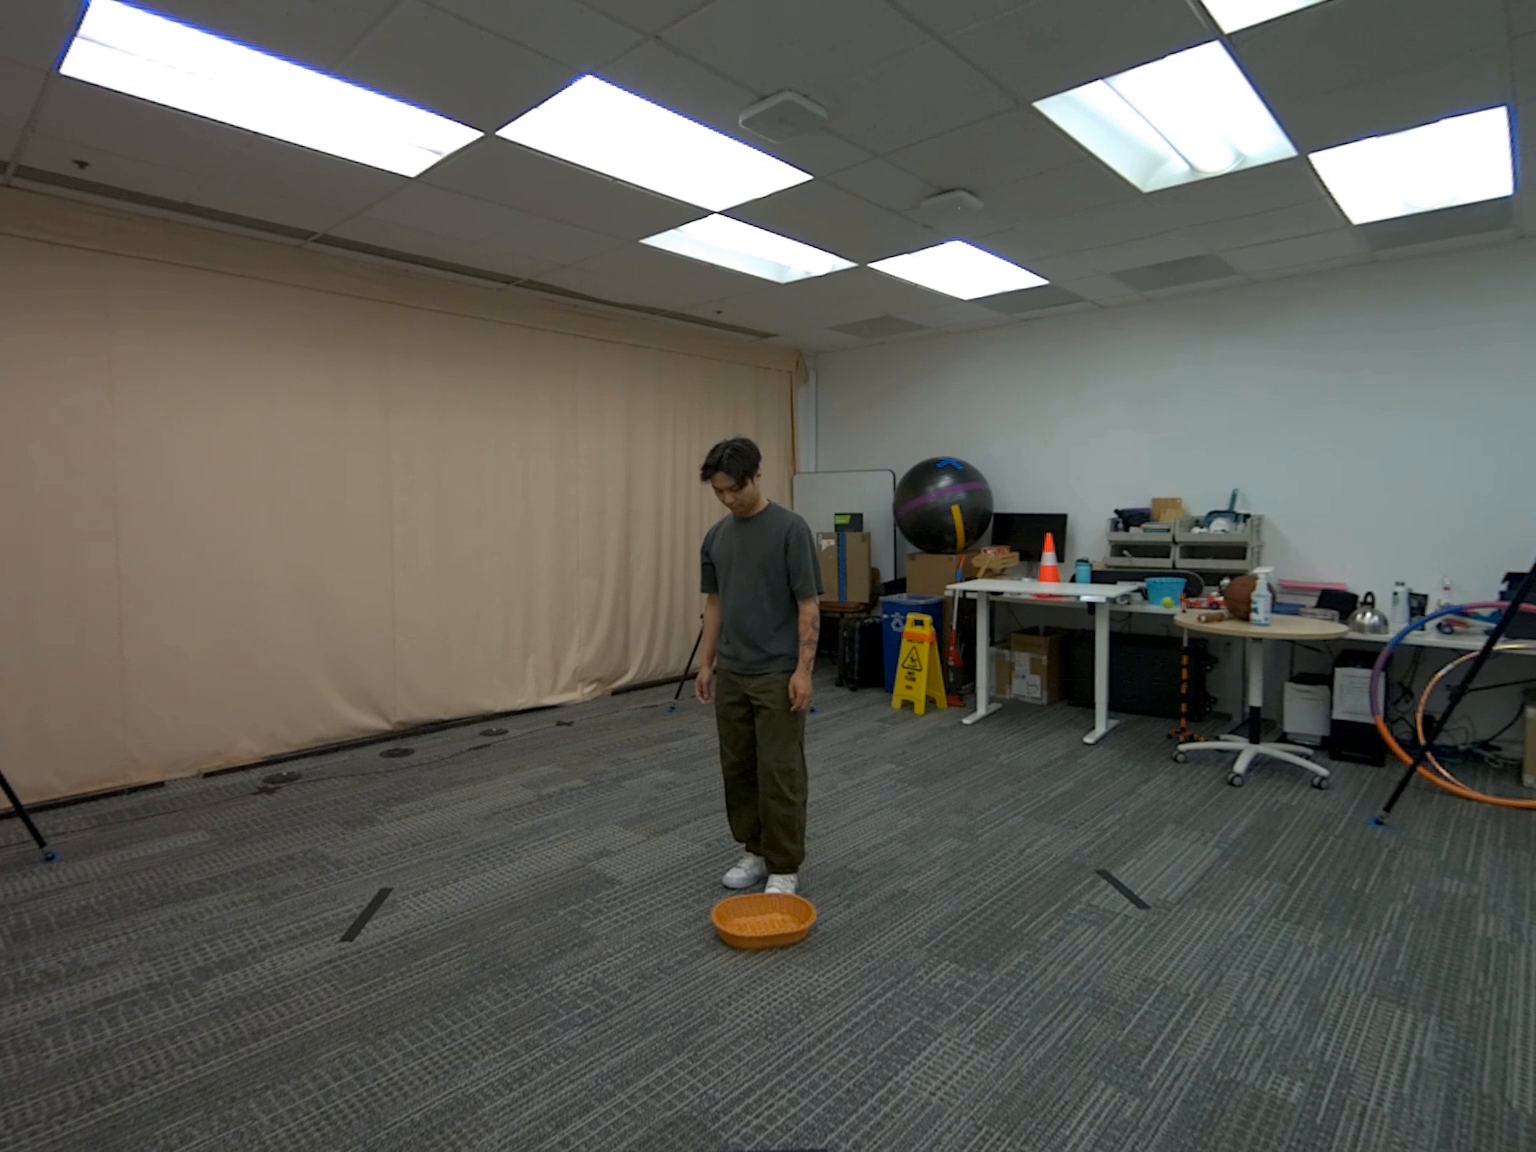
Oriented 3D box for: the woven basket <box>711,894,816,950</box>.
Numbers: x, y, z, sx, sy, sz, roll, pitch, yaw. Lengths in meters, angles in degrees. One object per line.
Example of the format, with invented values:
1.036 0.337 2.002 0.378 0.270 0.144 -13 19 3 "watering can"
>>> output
-0.014 1.118 2.735 0.346 0.073 0.257 -2 7 -13 "woven basket"
